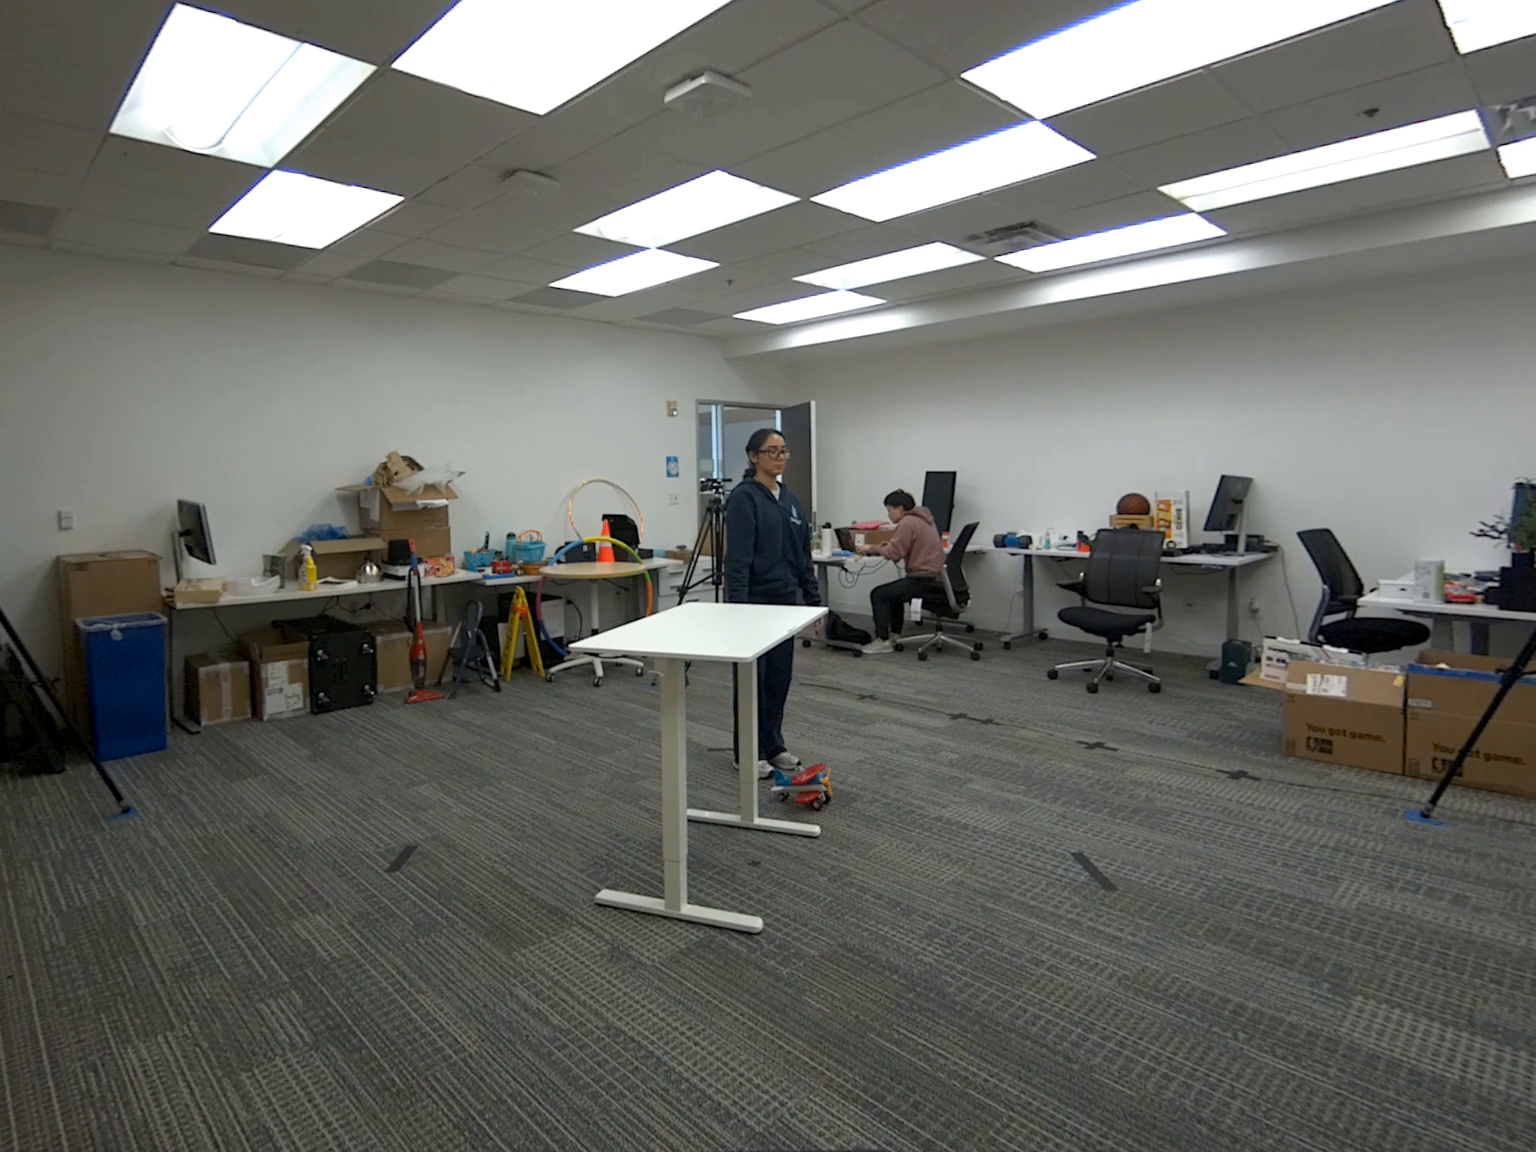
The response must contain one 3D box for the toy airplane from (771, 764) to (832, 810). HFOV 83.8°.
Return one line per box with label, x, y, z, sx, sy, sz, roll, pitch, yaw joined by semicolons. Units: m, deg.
toy airplane;0.144;0.911;3.642;0.260;0.156;0.252;0;5;1
